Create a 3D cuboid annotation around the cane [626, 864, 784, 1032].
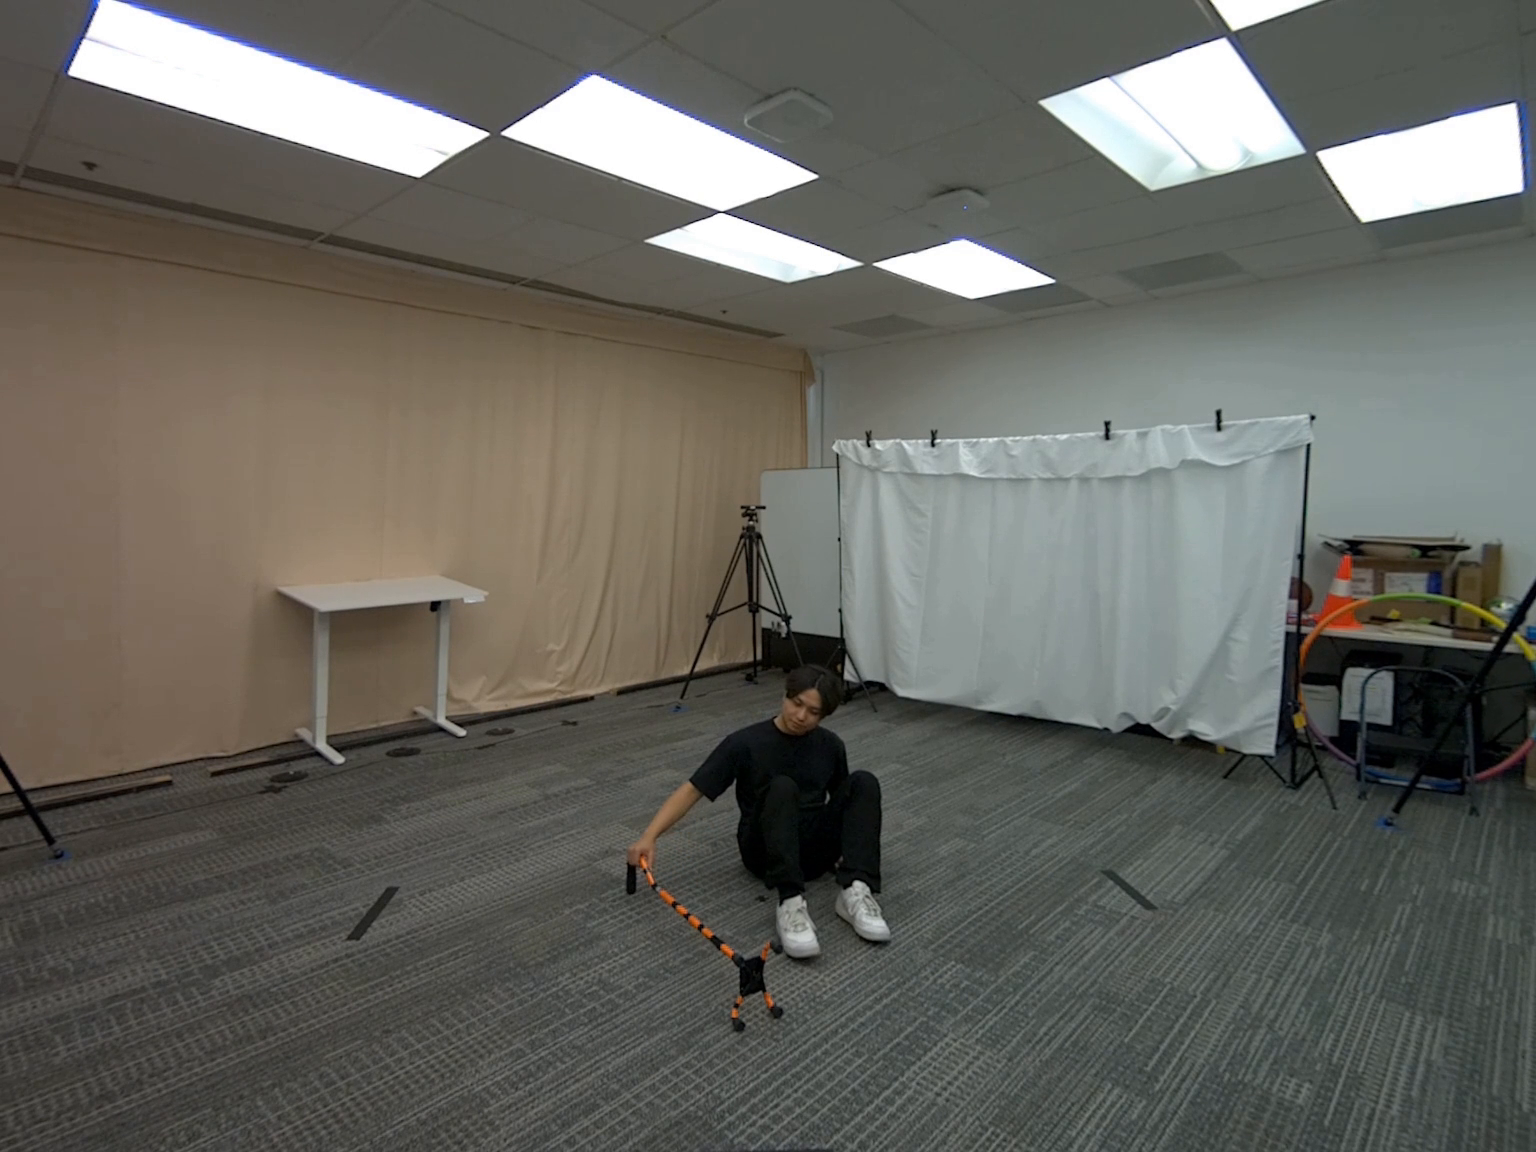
[{"bbox_3d":[-0.267,1.061,2.647,0.148,0.206,0.934,-5,6,-31],"label":"cane"}]
